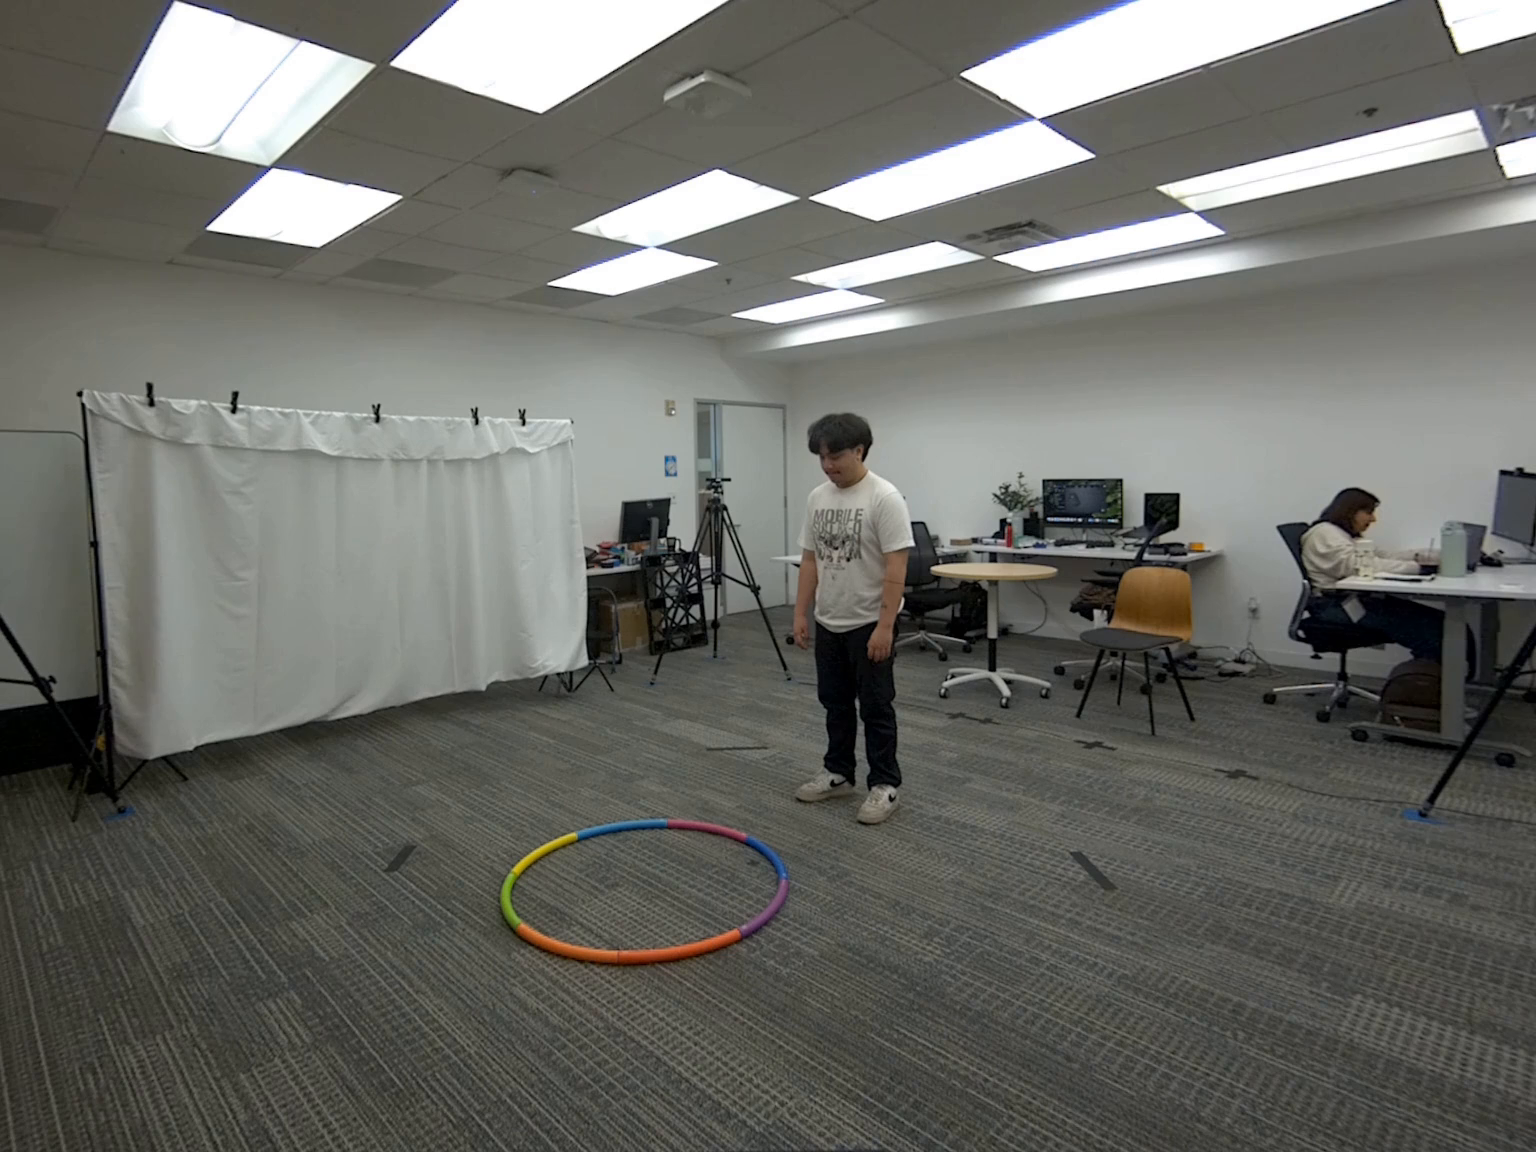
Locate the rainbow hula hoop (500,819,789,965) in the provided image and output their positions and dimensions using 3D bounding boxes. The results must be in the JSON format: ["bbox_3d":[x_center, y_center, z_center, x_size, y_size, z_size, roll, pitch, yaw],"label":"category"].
[{"bbox_3d":[-0.419,1.040,2.952,0.985,0.051,0.991,-1,6,-2],"label":"rainbow hula hoop"}]
